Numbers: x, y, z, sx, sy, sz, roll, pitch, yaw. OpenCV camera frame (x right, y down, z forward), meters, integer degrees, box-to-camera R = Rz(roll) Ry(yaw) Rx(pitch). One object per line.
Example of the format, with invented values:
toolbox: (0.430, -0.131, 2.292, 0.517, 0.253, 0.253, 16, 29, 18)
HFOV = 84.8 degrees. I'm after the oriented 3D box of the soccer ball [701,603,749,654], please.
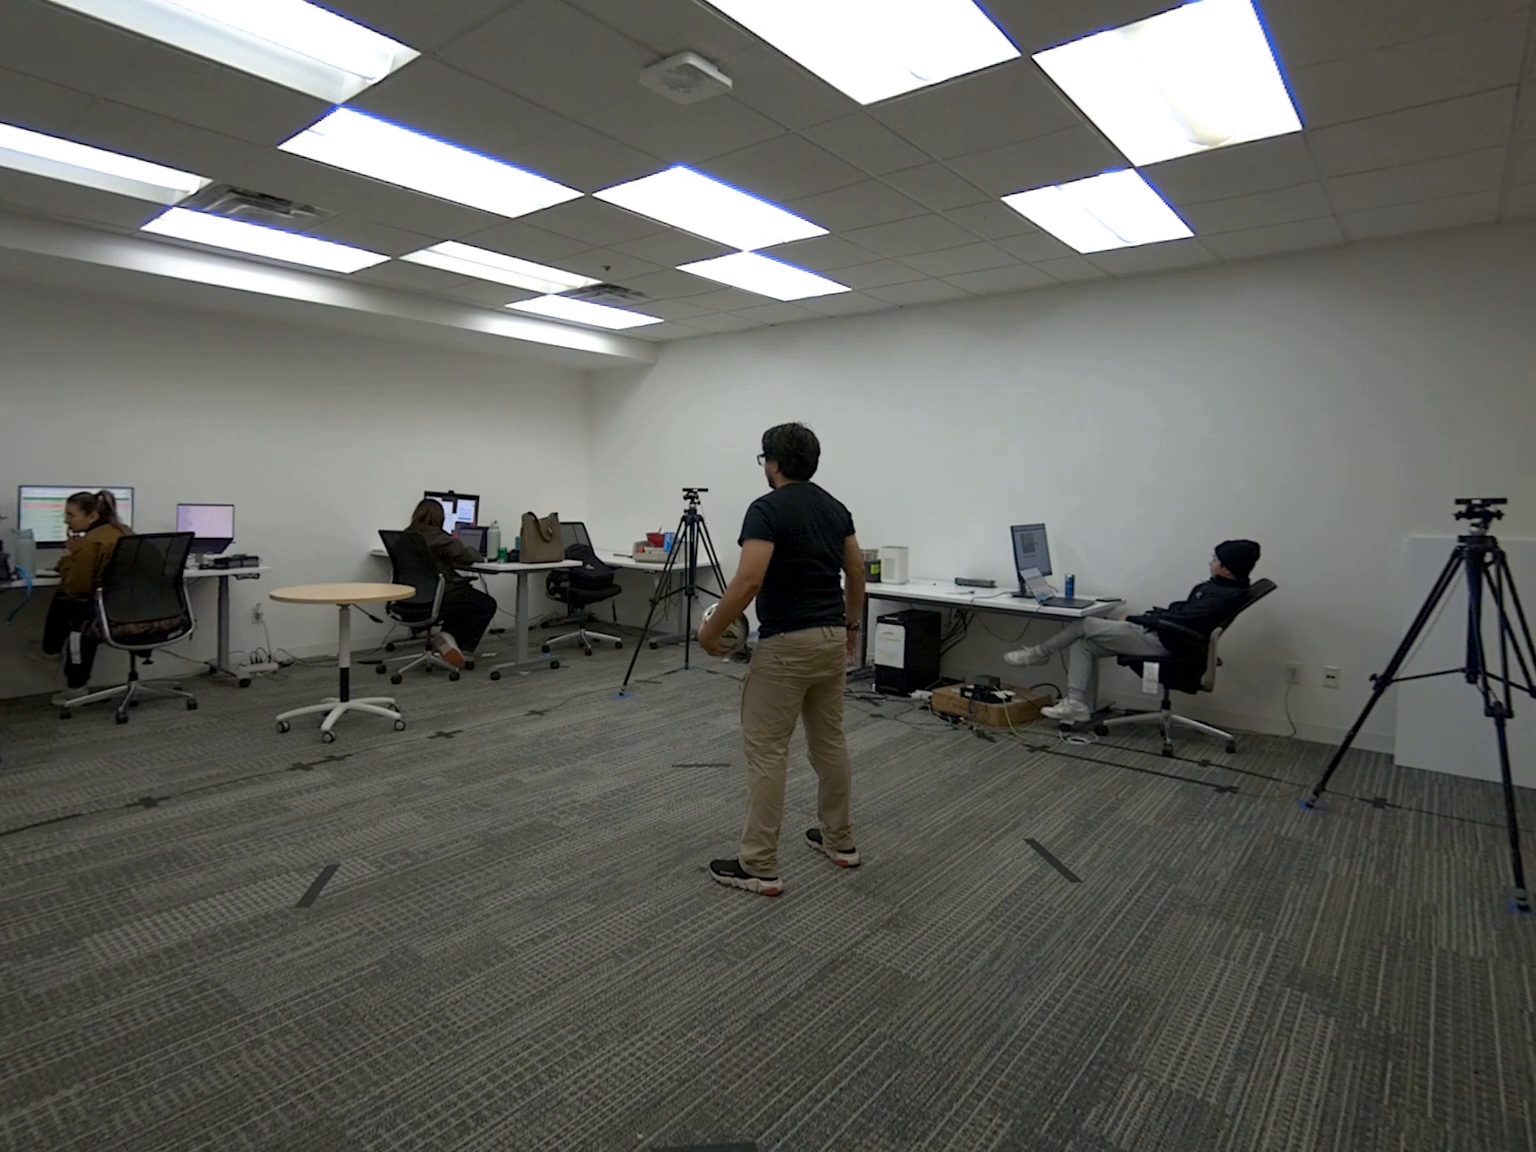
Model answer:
soccer ball: (-0.170, 0.188, 3.108, 0.187, 0.187, 0.188, 1, 4, -2)
